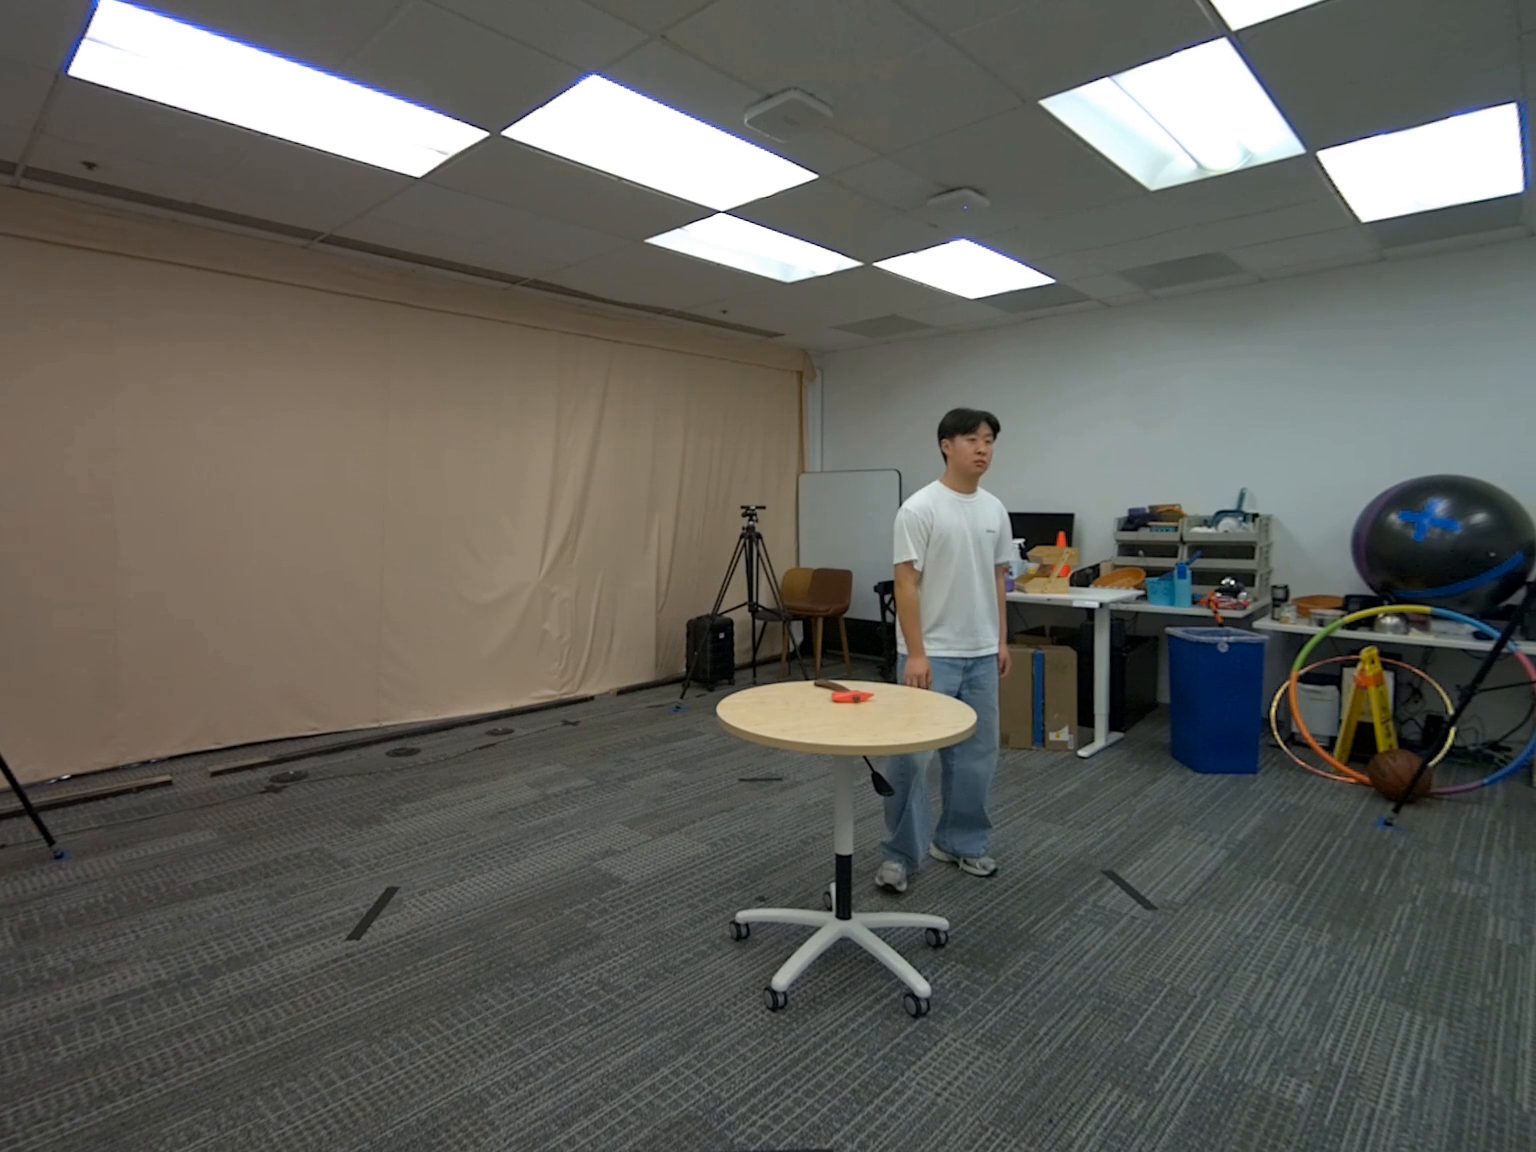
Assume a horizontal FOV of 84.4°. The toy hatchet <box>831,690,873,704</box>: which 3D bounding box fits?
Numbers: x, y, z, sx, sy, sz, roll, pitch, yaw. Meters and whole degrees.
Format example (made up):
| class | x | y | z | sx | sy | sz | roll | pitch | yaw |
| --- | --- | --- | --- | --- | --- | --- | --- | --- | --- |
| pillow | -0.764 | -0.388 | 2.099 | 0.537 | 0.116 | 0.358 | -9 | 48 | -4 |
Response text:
| class | x | y | z | sx | sy | sz | roll | pitch | yaw |
| --- | --- | --- | --- | --- | --- | --- | --- | --- | --- |
| toy hatchet | 0.217 | 0.374 | 2.695 | 0.128 | 0.029 | 0.278 | -8 | 7 | -31 |
